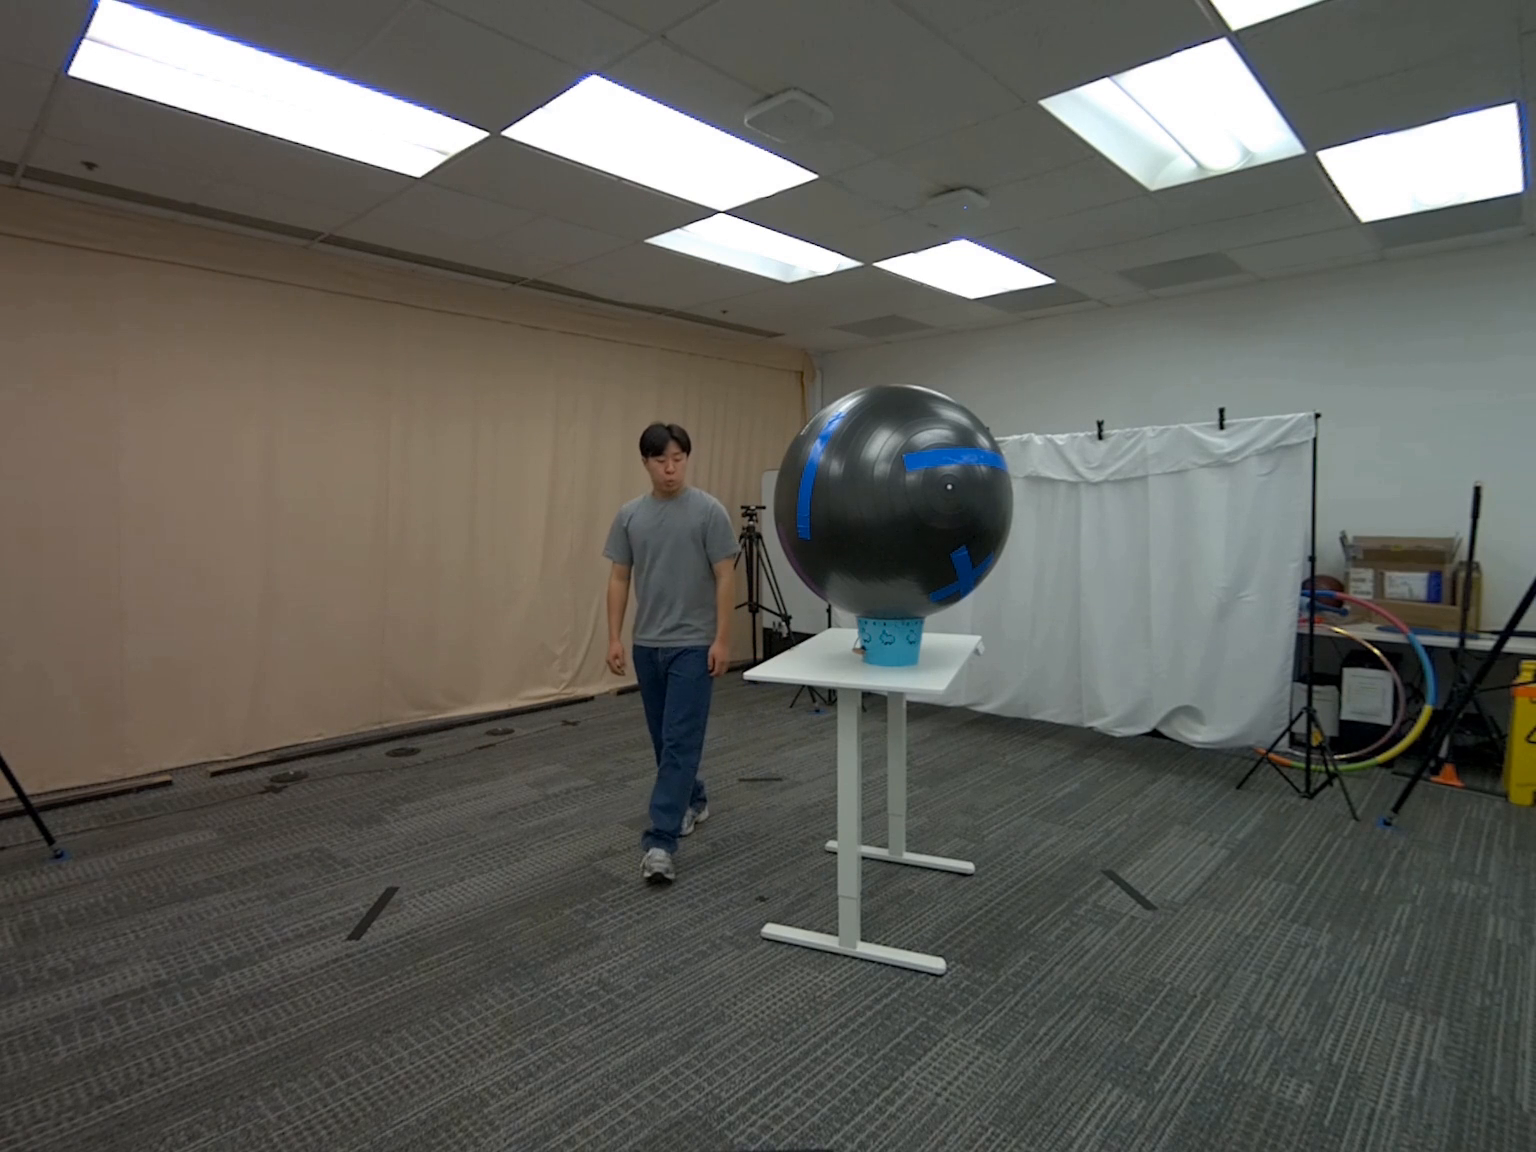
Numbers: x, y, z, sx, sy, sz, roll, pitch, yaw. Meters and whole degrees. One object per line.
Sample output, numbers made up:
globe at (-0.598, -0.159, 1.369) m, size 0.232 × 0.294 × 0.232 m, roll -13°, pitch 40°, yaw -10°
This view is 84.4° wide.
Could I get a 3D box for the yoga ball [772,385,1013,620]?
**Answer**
yoga ball at (0.401, -0.231, 2.742) m, size 0.757 × 0.756 × 0.760 m, roll 0°, pitch 4°, yaw -2°
